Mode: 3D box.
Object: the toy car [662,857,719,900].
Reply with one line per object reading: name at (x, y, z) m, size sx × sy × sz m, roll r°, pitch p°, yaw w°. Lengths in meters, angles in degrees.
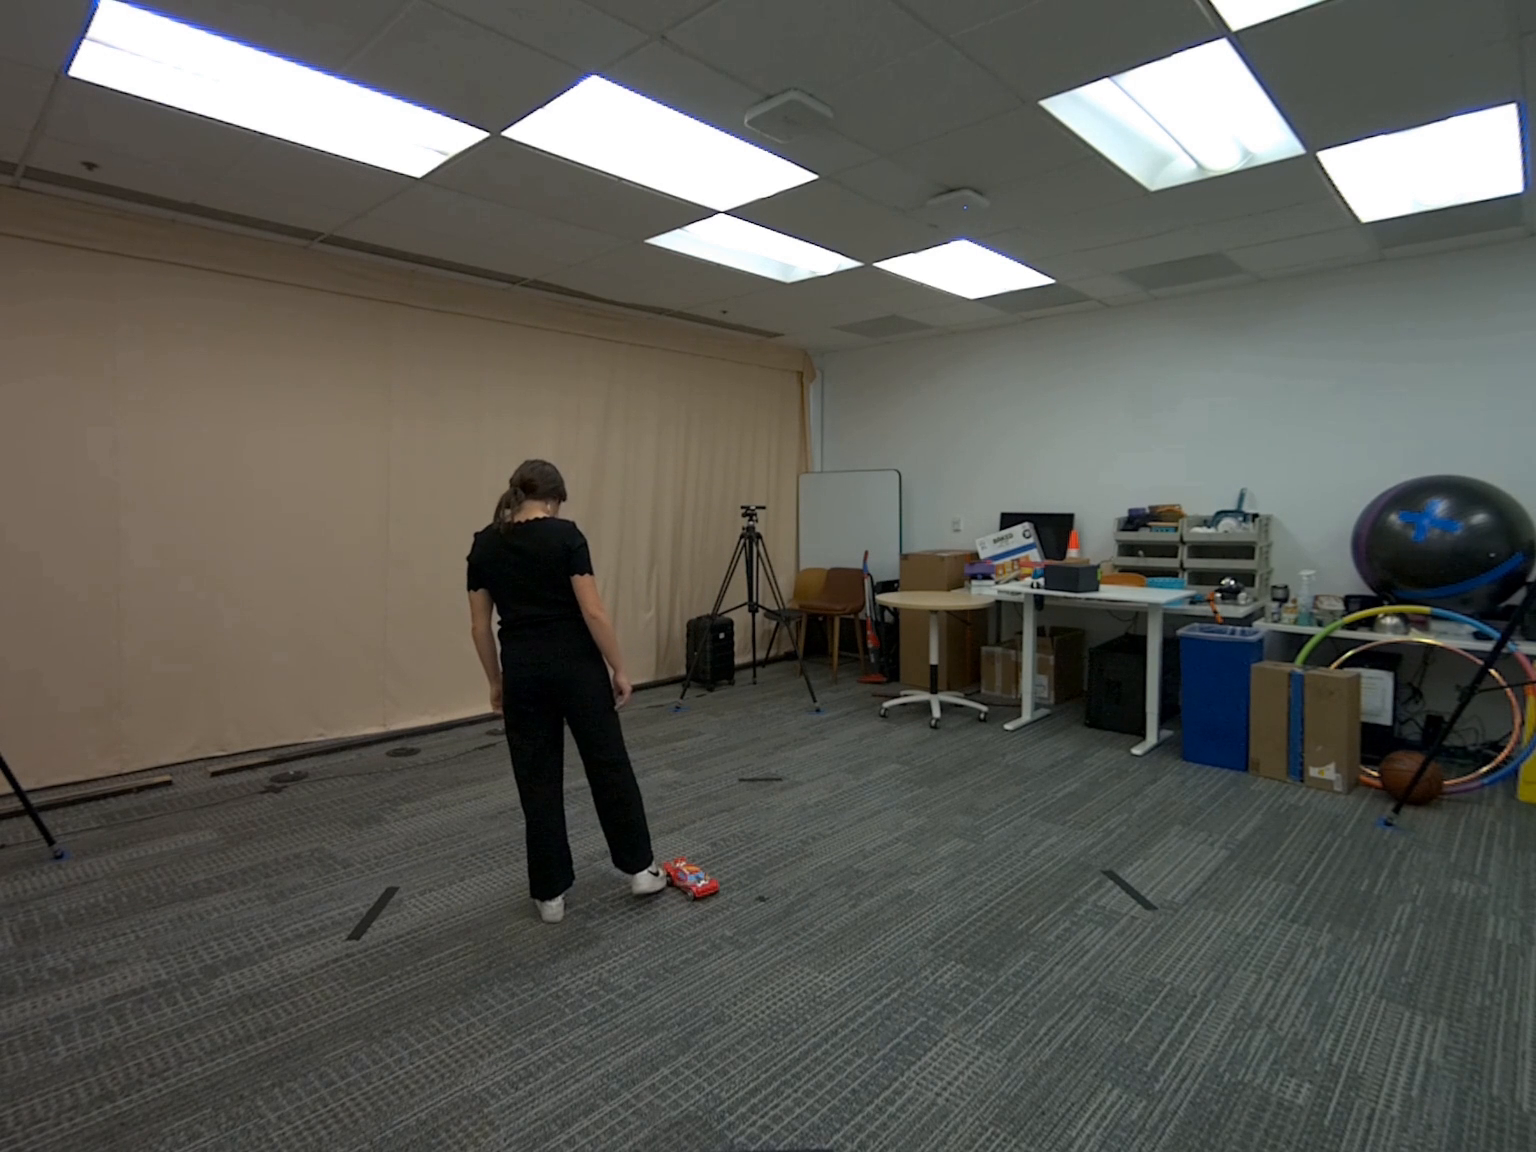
toy car at (-0.294, 1.105, 3.074) m, size 0.126 × 0.083 × 0.264 m, roll -4°, pitch 16°, yaw -37°
